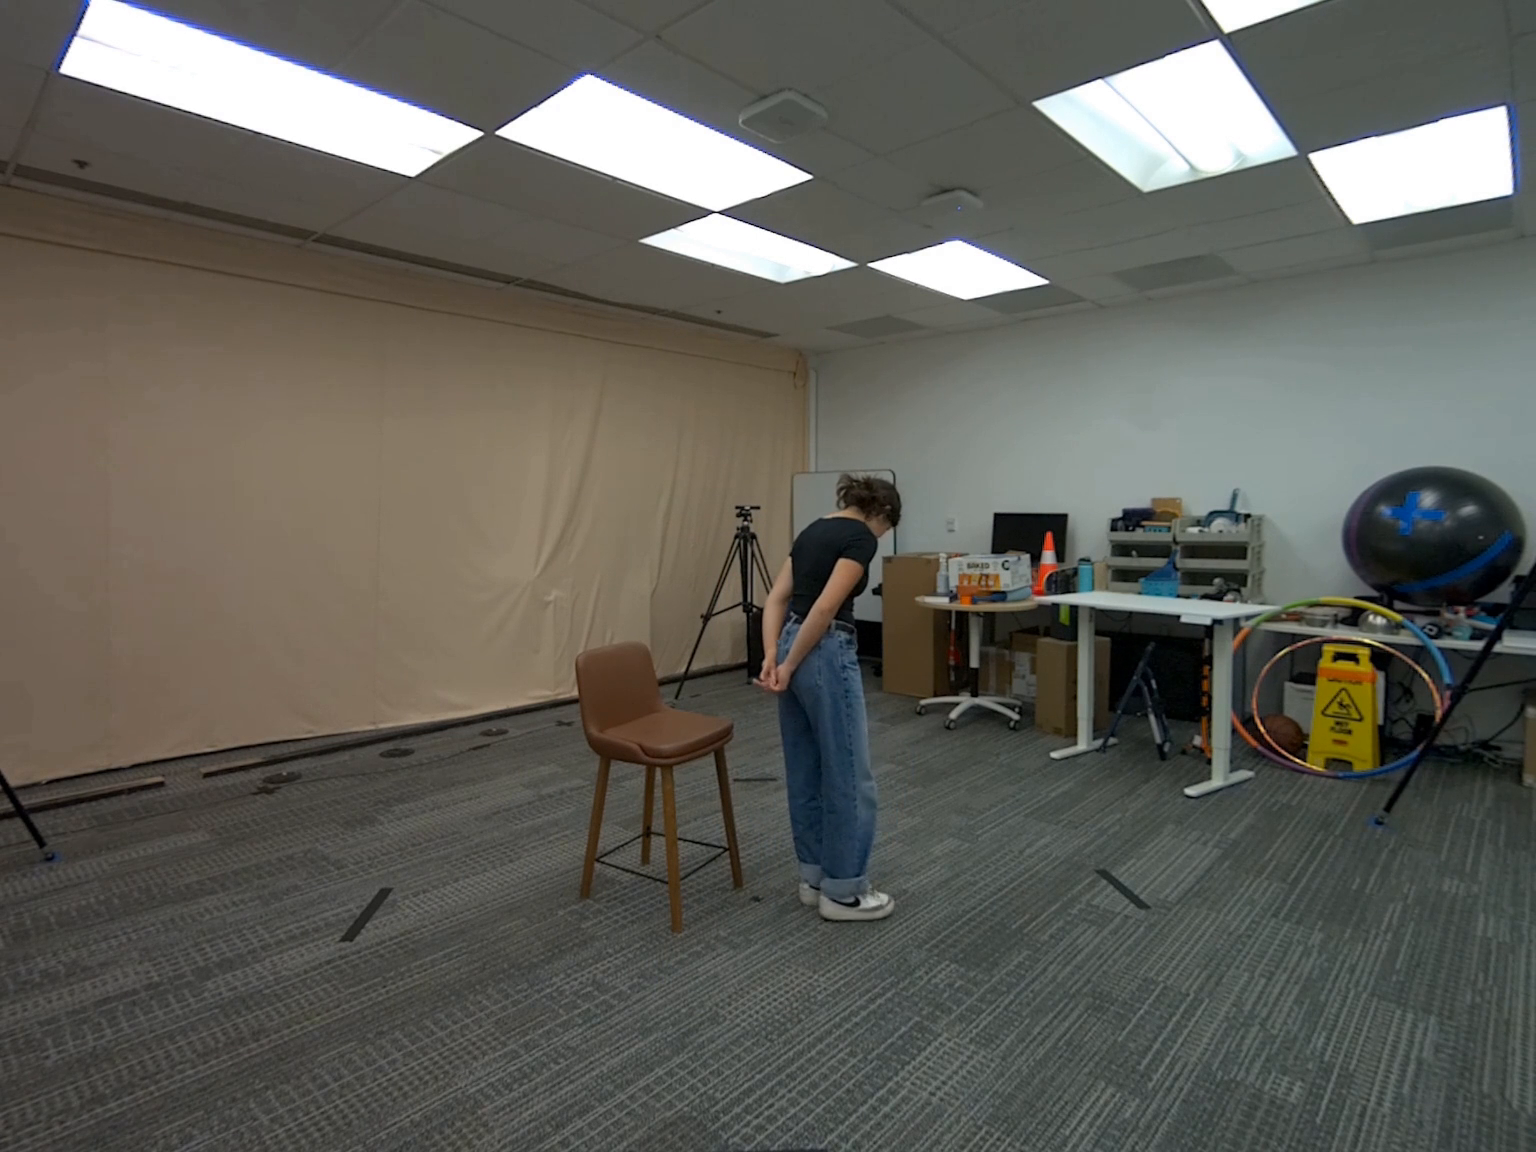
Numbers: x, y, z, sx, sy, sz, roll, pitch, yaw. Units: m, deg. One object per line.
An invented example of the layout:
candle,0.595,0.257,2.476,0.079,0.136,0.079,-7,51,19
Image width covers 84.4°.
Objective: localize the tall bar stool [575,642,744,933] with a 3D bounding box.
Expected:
tall bar stool,-0.388,0.710,3.016,0.481,0.888,0.444,0,3,33
